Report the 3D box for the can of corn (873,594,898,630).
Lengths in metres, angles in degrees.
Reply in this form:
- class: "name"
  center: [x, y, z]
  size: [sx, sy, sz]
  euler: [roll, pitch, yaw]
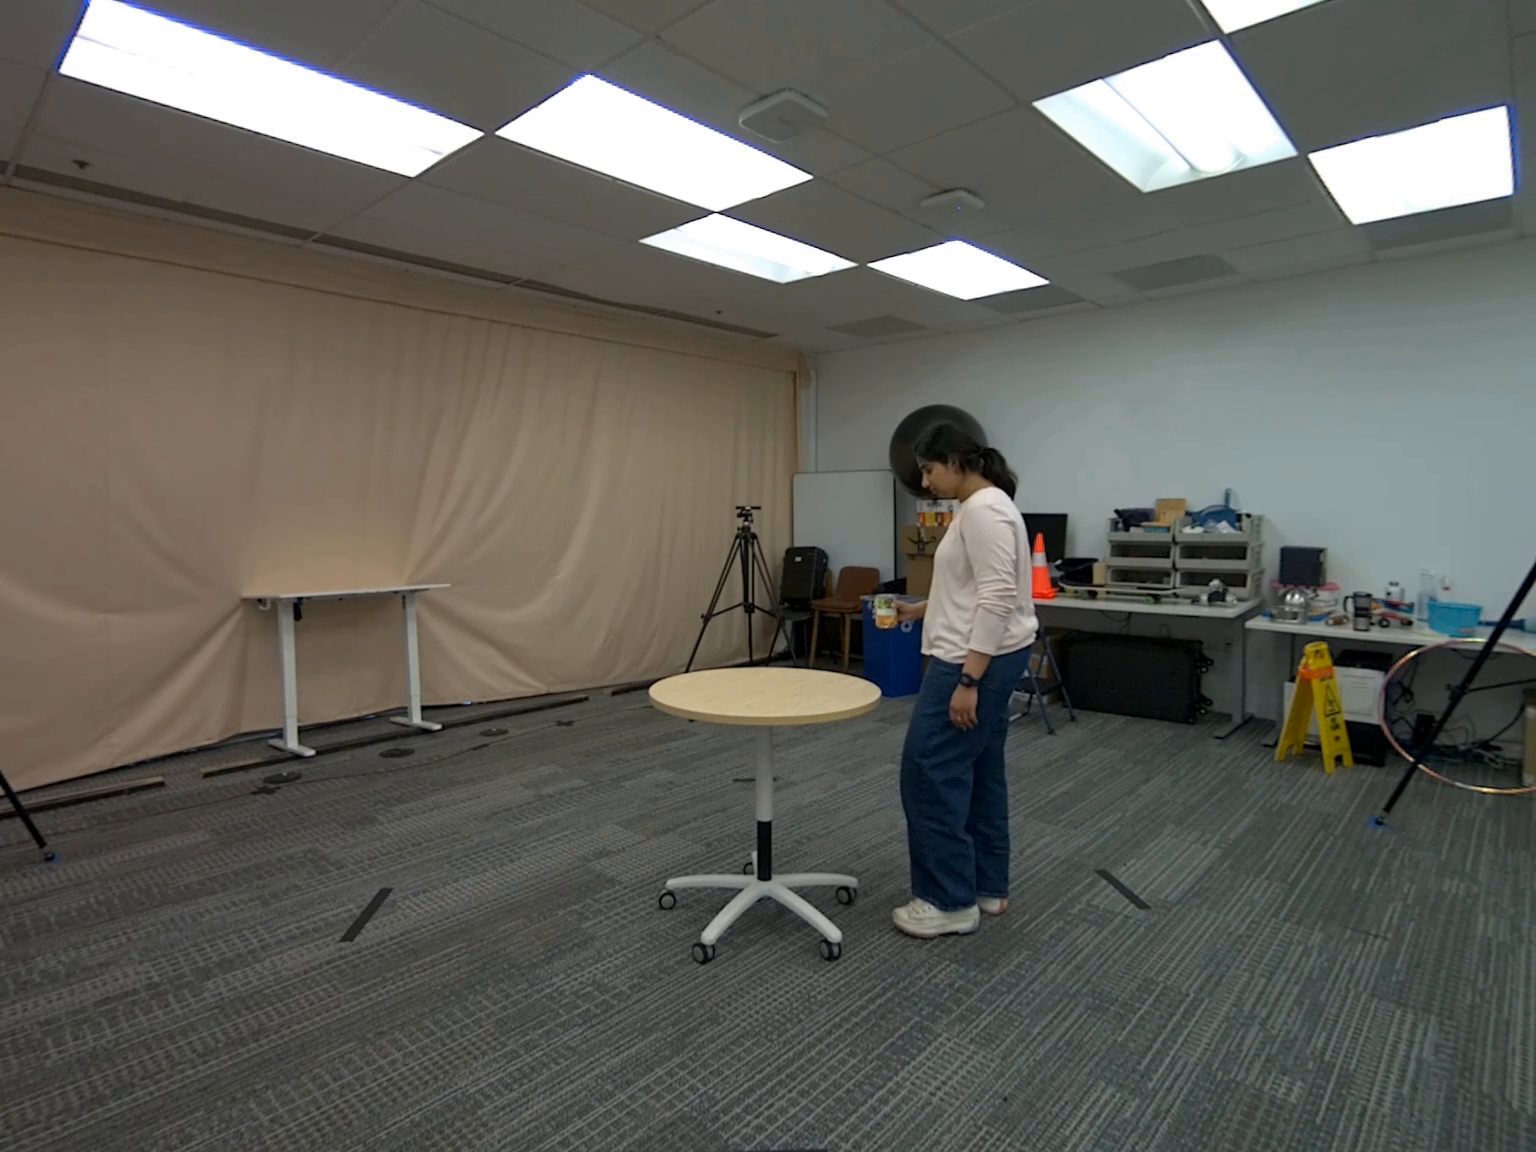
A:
- class: "can of corn"
  center: [0.426, 0.126, 3.007]
  size: [0.074, 0.110, 0.074]
  euler: [-2, 6, -2]
